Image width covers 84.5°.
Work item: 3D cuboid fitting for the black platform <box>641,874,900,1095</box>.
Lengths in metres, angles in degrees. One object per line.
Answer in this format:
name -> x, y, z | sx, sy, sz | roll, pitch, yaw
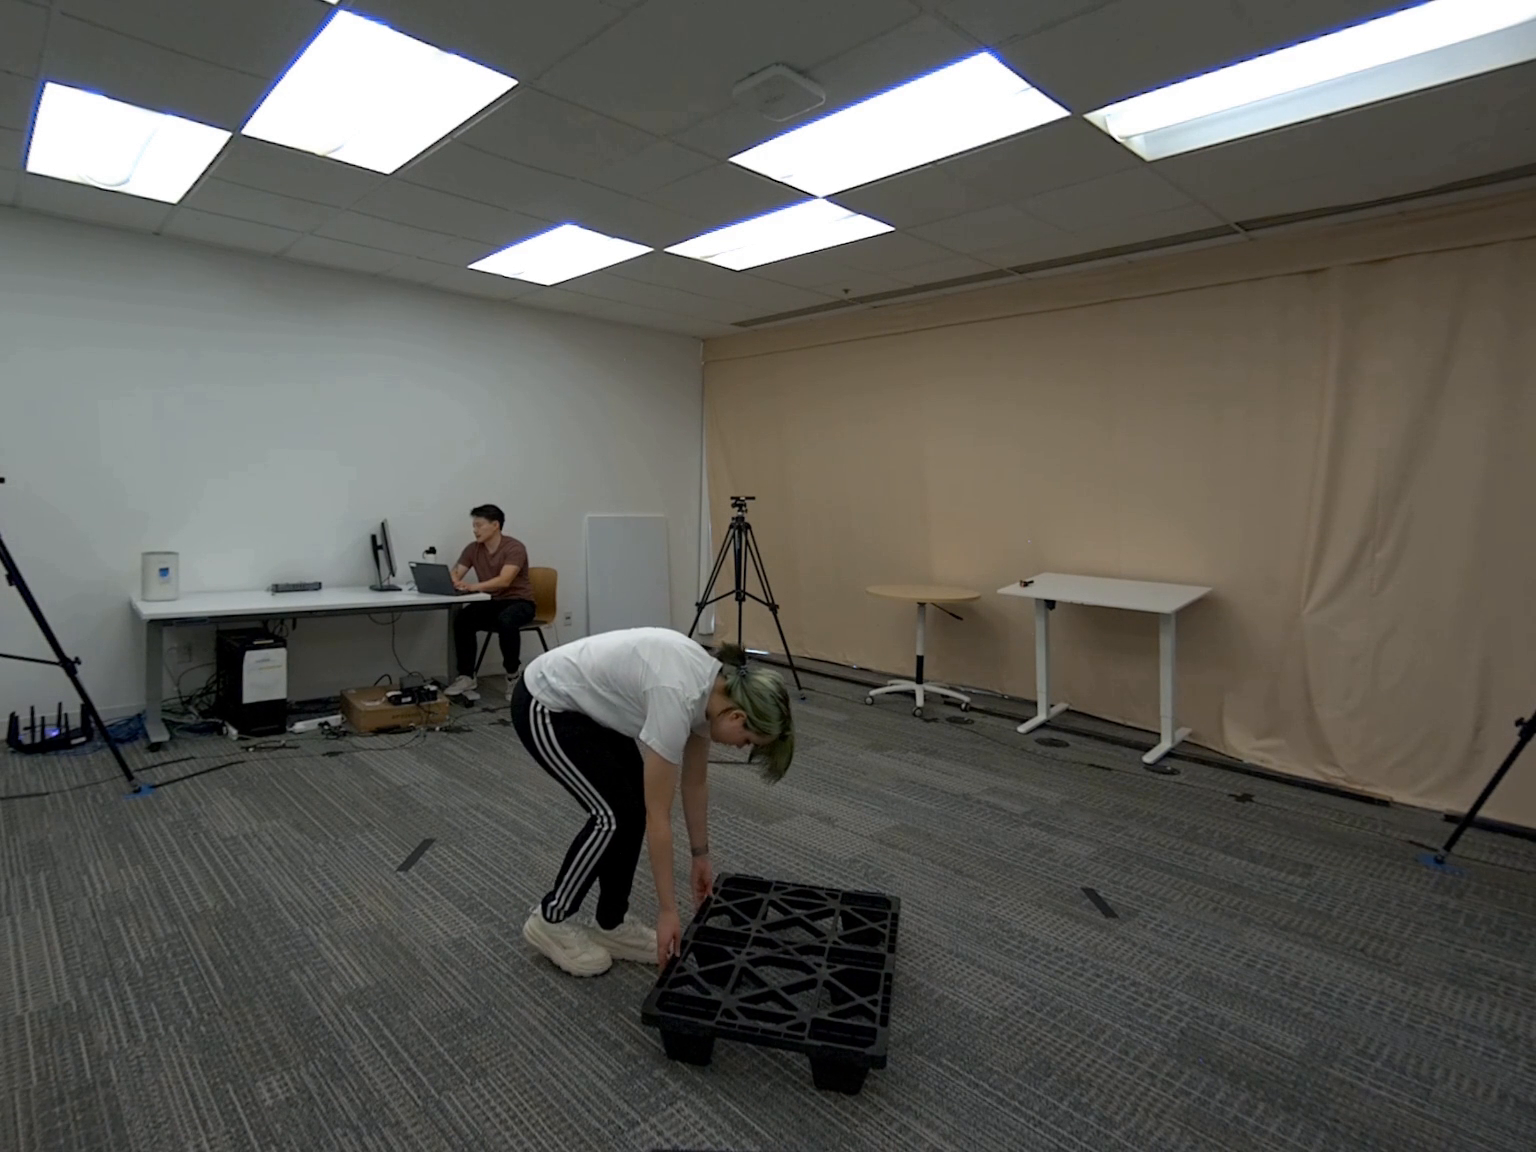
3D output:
black platform -> 0.052, 1.107, 2.379 | 0.612, 0.143, 0.799 | 4, 6, 12
